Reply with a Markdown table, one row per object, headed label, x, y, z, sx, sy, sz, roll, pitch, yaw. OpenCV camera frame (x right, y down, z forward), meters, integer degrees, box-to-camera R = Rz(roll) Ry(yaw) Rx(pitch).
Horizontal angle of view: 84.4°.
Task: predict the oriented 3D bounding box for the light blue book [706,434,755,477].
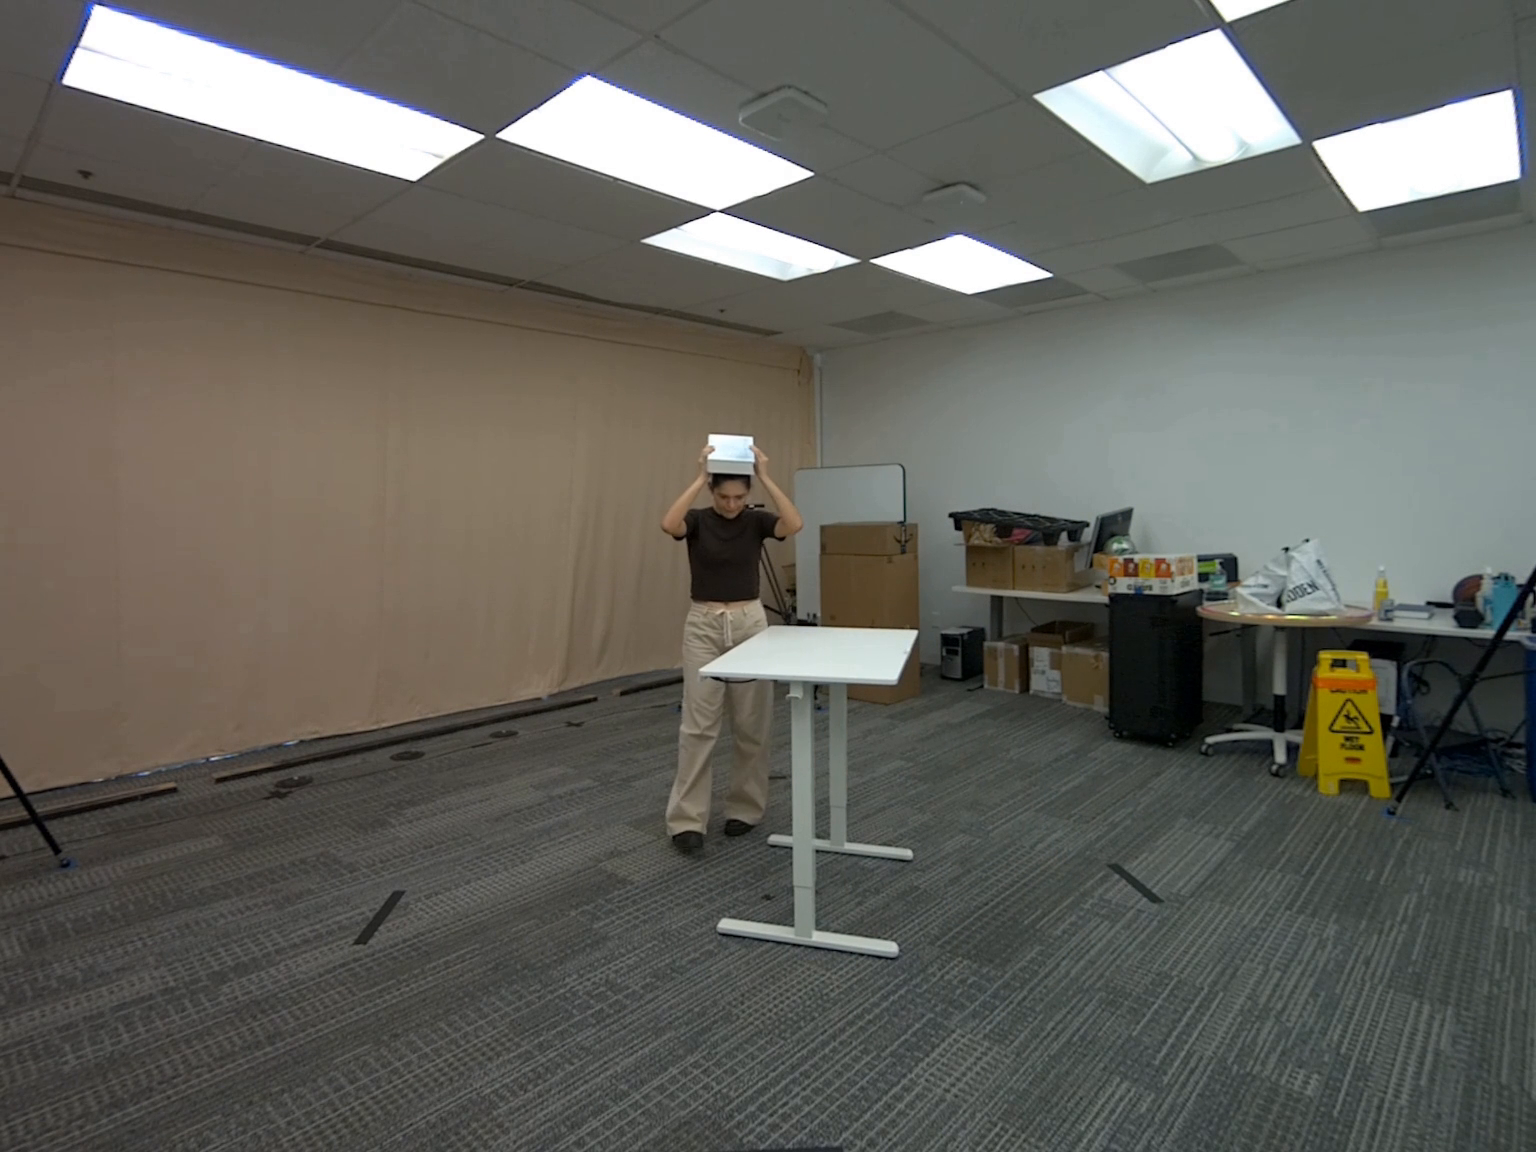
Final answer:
| label | x | y | z | sx | sy | sz | roll | pitch | yaw |
| --- | --- | --- | --- | --- | --- | --- | --- | --- | --- |
| light blue book | -0.161 | -0.498 | 3.418 | 0.191 | 0.058 | 0.265 | 4 | 31 | -3 |
